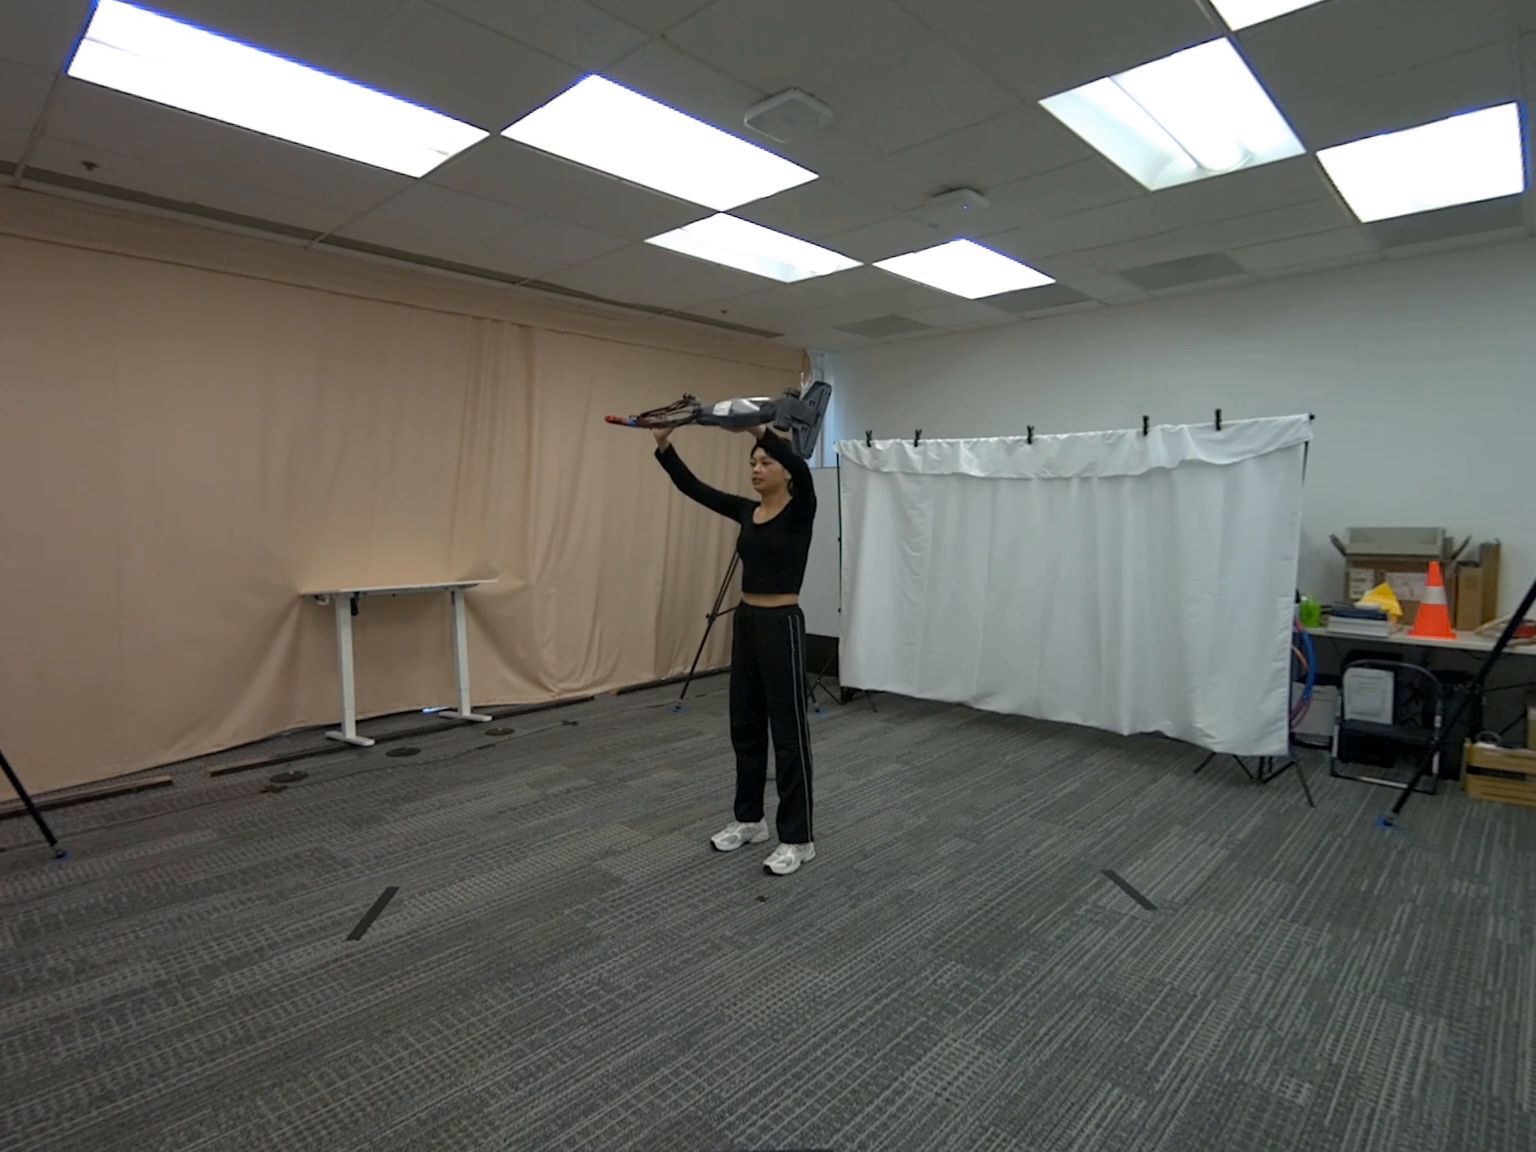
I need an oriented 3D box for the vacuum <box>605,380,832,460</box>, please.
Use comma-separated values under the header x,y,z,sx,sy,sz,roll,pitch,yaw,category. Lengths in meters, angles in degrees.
x,y,z,sx,sy,sz,roll,pitch,yaw,category
-0.263,-0.565,3.010,1.086,0.253,0.139,10,-12,44,vacuum
